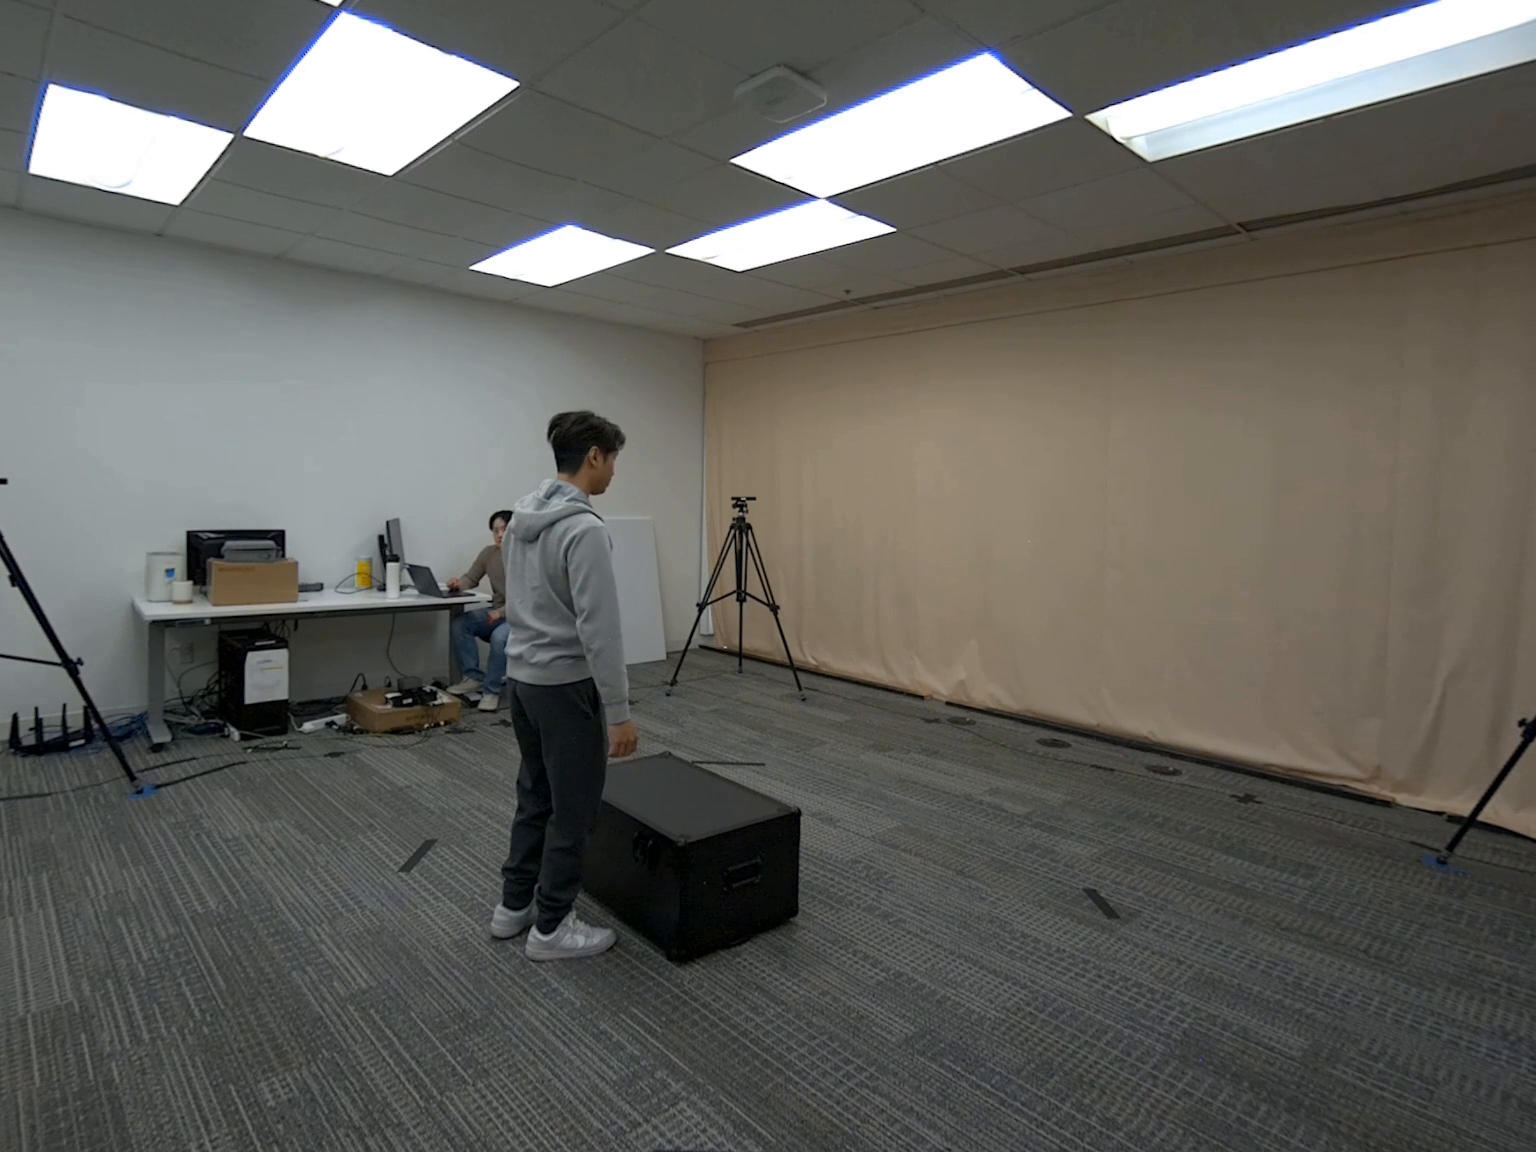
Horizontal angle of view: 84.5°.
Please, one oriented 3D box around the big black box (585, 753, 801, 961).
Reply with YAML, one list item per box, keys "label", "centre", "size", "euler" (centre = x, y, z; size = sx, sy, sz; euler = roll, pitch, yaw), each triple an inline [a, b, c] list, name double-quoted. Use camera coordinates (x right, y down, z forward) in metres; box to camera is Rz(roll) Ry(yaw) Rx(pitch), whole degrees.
- label: "big black box"
  centre: [-0.353, 0.928, 2.941]
  size: [0.509, 0.395, 0.884]
  euler: [-3, 7, -40]
